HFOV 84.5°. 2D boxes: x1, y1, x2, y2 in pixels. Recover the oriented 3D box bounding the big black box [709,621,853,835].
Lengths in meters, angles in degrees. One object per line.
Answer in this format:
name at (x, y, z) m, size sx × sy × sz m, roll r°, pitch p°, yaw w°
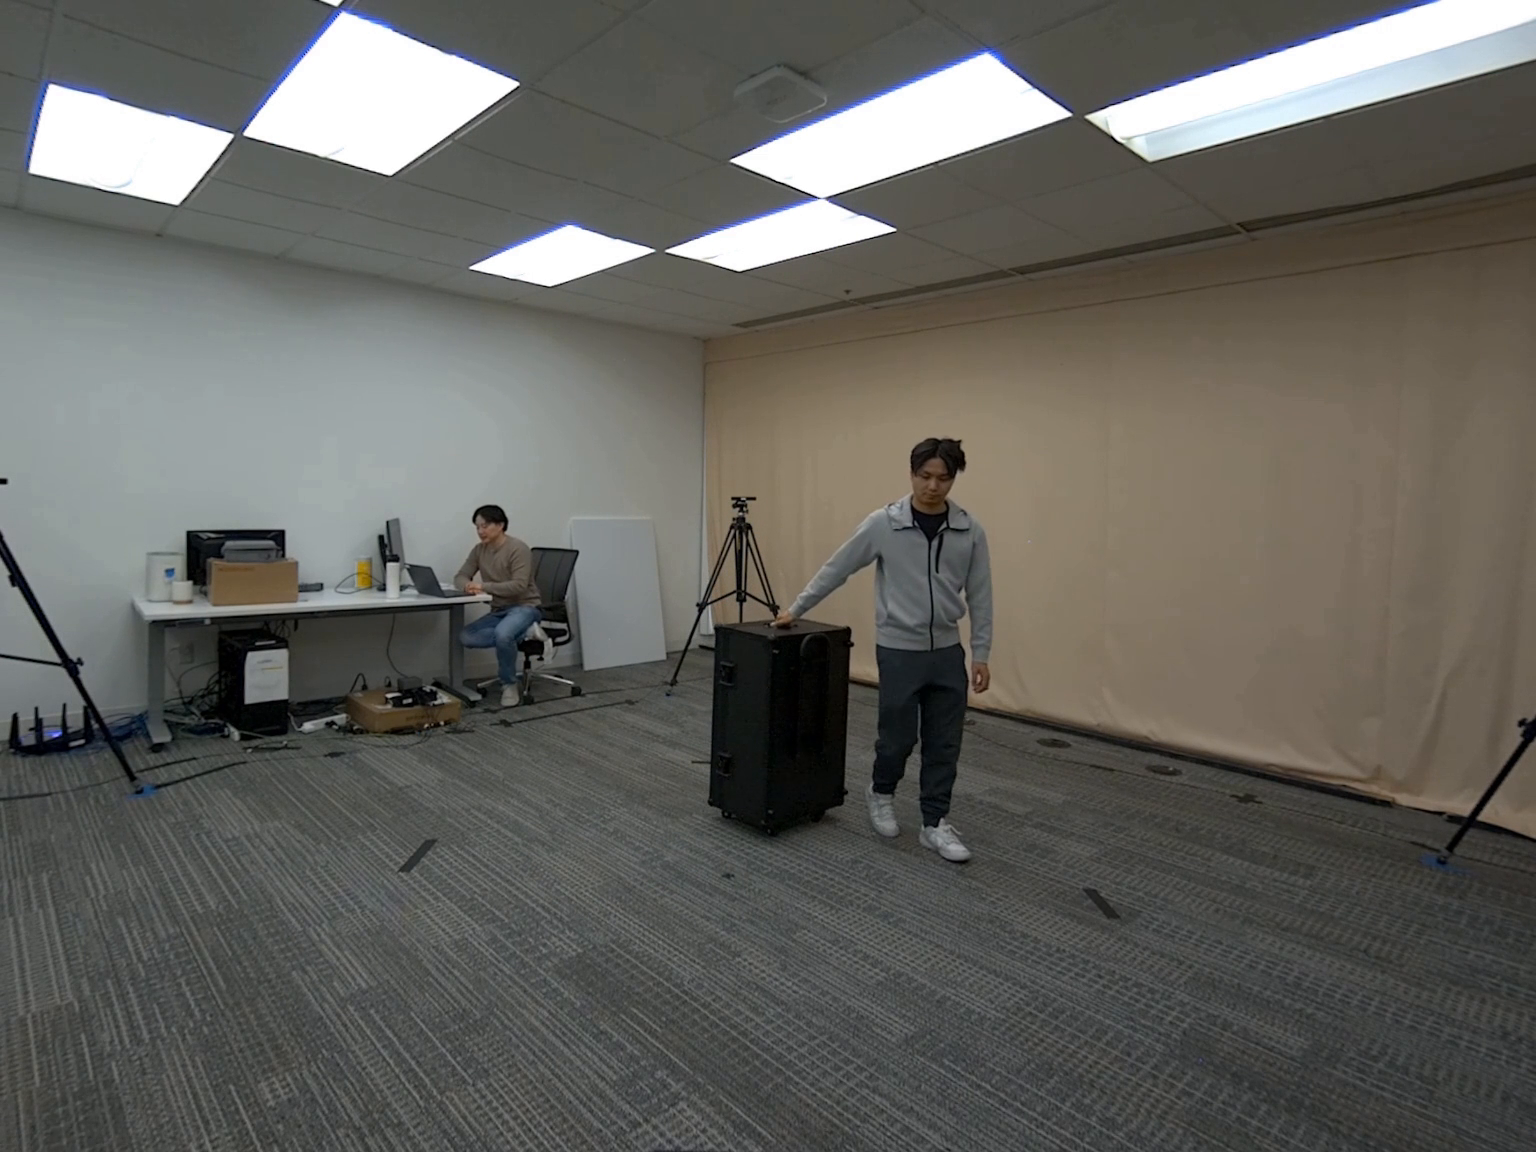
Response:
big black box at (0.052, 0.639, 3.636) m, size 0.509 × 0.859 × 0.406 m, roll -2°, pitch 5°, yaw -43°
